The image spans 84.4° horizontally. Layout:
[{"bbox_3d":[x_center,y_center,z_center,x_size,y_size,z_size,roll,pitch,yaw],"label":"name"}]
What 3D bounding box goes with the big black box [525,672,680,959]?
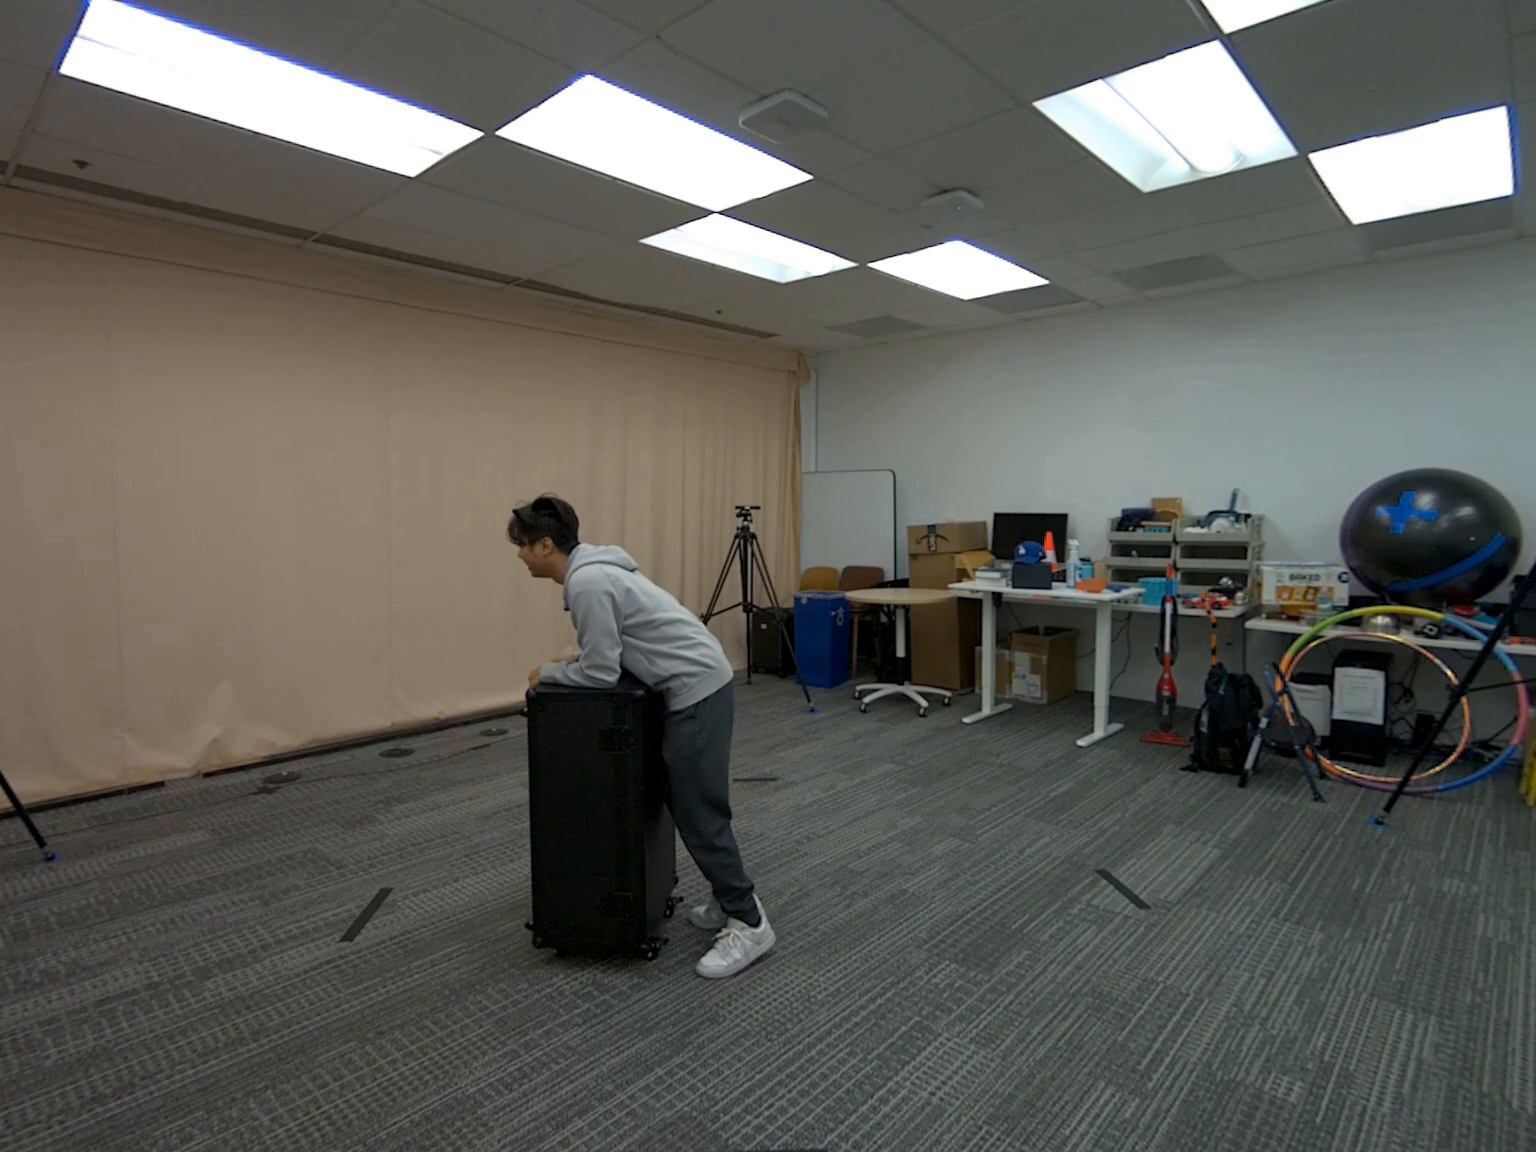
[{"bbox_3d":[-0.531,0.751,2.722,0.399,0.860,0.519,-1,3,5],"label":"big black box"}]
